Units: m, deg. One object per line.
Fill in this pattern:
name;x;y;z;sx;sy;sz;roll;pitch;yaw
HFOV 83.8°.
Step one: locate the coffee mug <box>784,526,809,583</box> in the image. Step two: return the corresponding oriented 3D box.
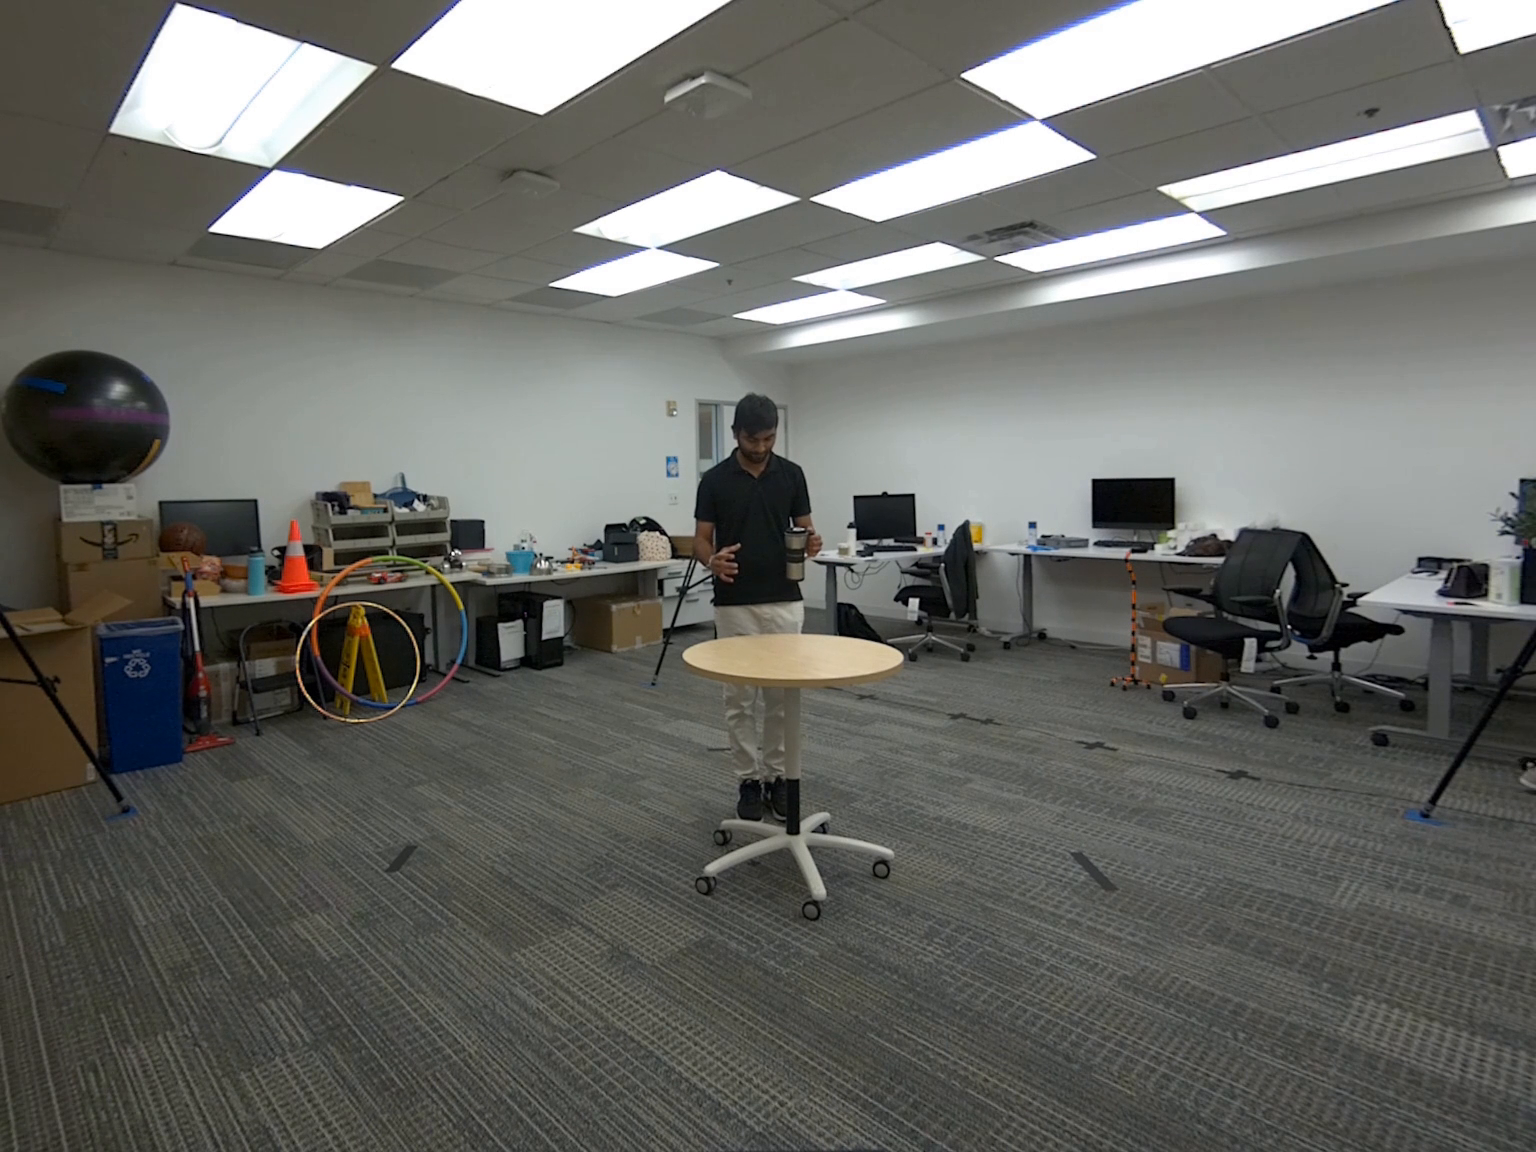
coffee mug;0.111;-0.083;3.265;0.120;0.200;0.090;-9;13;-21
